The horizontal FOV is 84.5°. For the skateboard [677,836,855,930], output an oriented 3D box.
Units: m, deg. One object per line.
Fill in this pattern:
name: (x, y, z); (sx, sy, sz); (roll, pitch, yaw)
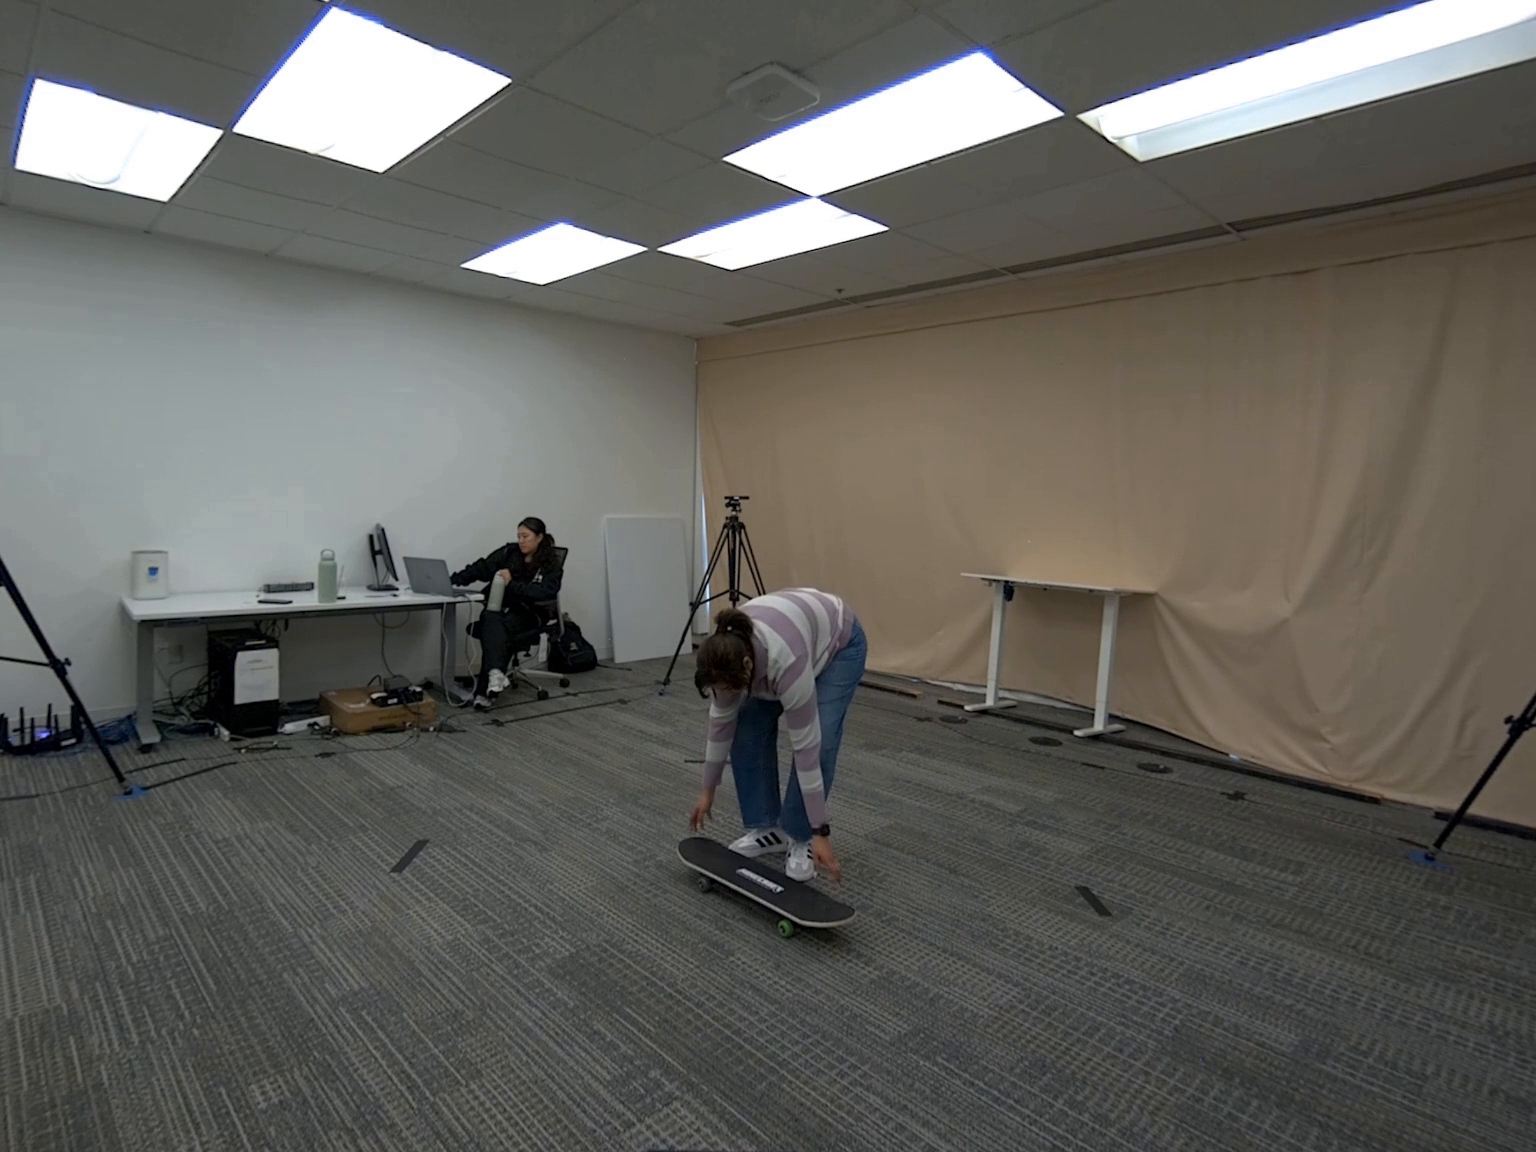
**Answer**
skateboard: (-0.032, 1.066, 2.879); (0.189, 0.110, 0.806); (-3, 6, -43)
